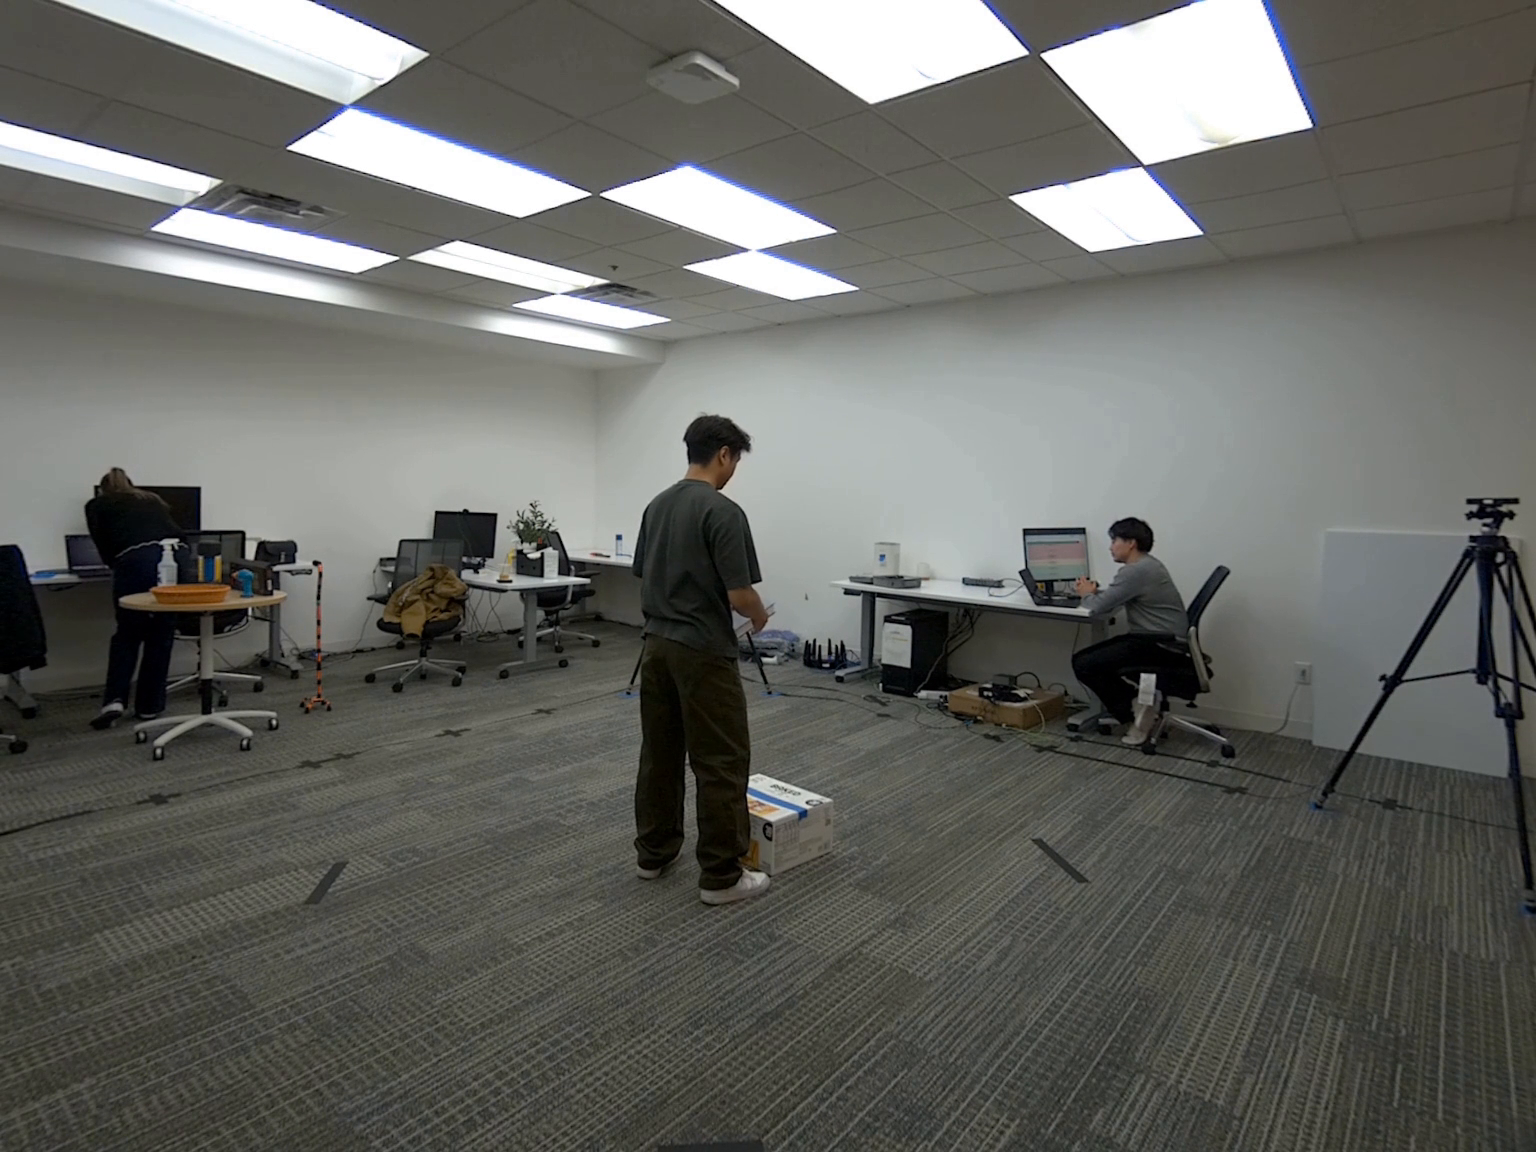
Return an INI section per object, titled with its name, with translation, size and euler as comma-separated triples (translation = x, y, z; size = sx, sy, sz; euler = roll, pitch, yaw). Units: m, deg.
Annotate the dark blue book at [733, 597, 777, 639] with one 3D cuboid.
[dark blue book]
translation = -0.110, 0.147, 3.206
size = 0.169, 0.044, 0.242
euler = 12, 31, 36
